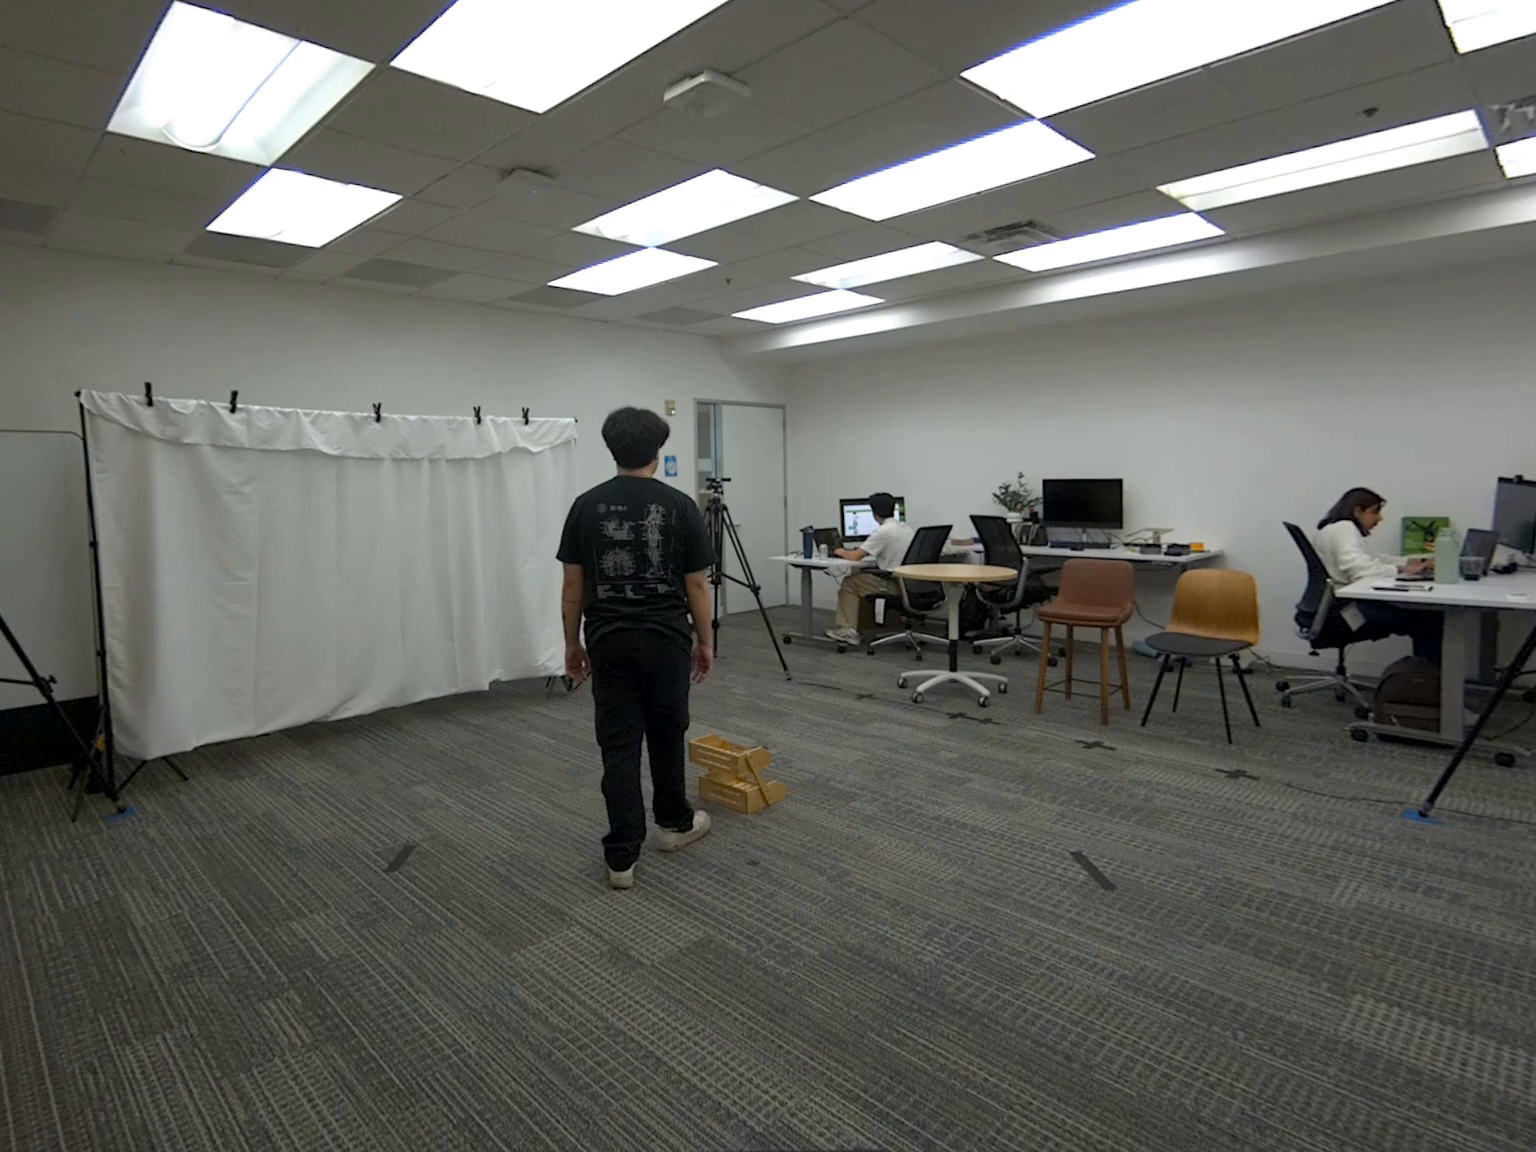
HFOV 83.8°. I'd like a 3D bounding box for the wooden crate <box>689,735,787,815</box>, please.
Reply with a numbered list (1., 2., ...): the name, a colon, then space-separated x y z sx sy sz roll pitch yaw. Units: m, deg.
1. wooden crate: -0.128 0.839 3.729 0.334 0.272 0.294 4 8 44
